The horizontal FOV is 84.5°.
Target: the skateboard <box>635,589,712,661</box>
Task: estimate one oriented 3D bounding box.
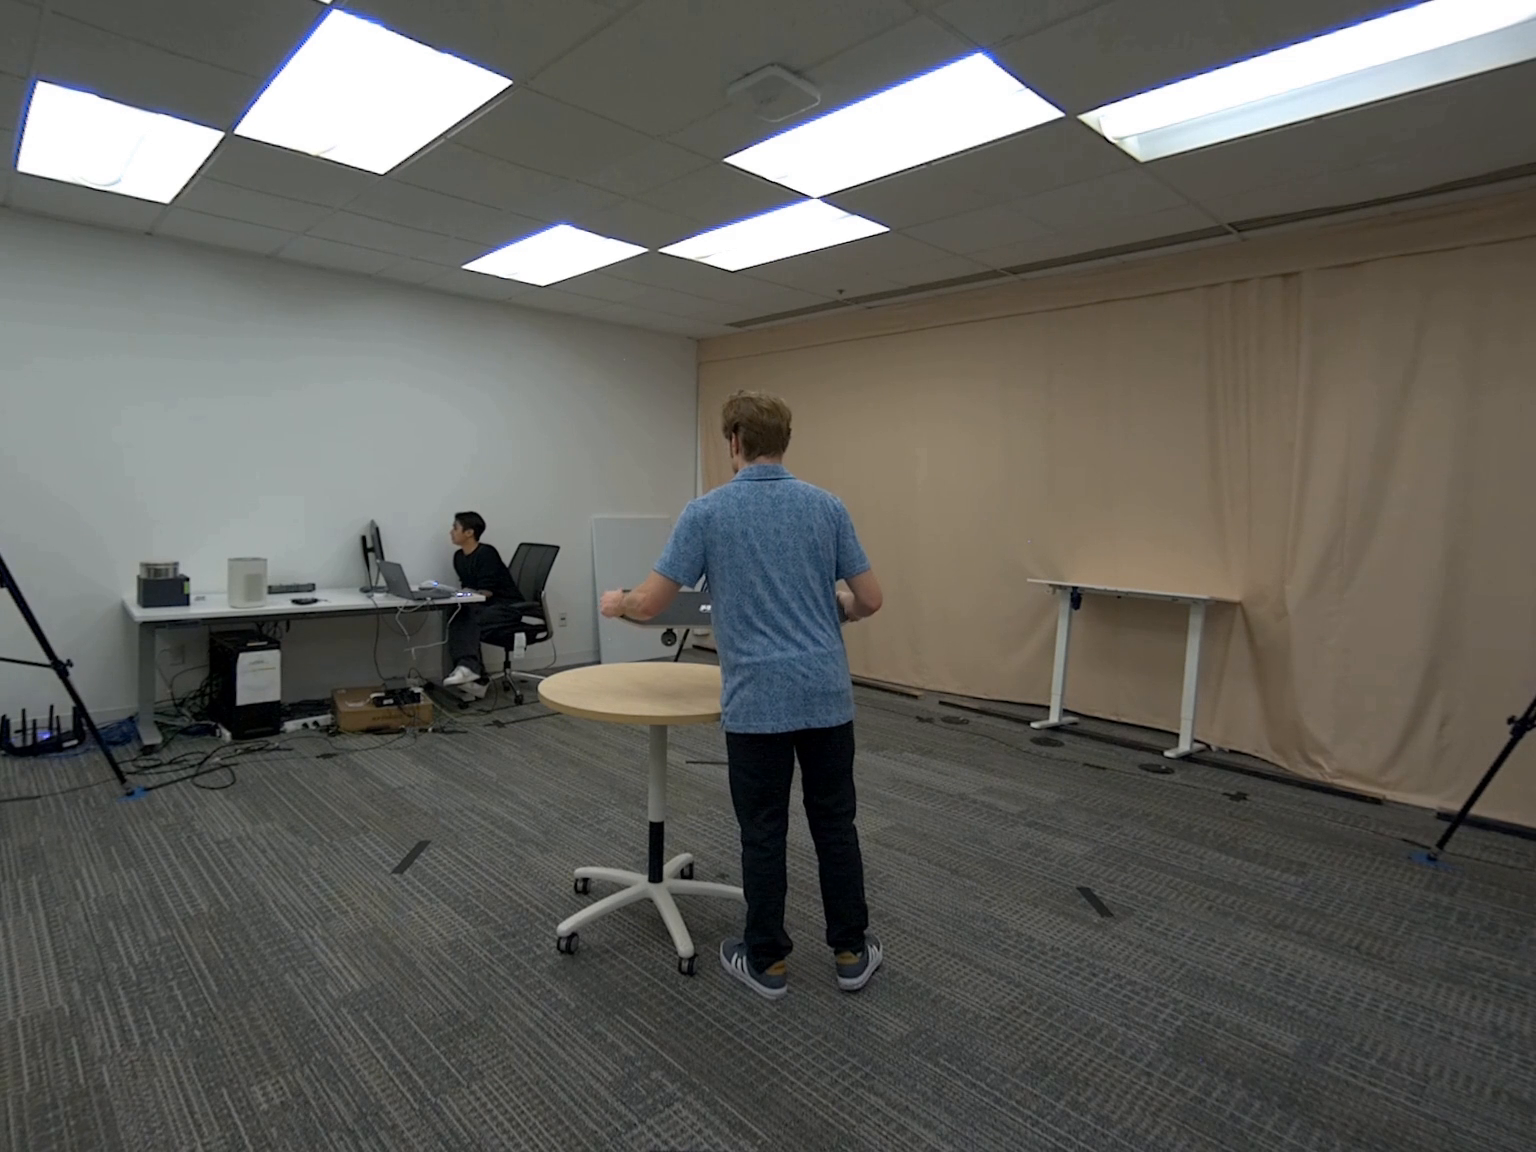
[{"bbox_3d":[-0.118,0.146,2.686,0.781,0.108,0.198,2,32,-7],"label":"skateboard"}]
